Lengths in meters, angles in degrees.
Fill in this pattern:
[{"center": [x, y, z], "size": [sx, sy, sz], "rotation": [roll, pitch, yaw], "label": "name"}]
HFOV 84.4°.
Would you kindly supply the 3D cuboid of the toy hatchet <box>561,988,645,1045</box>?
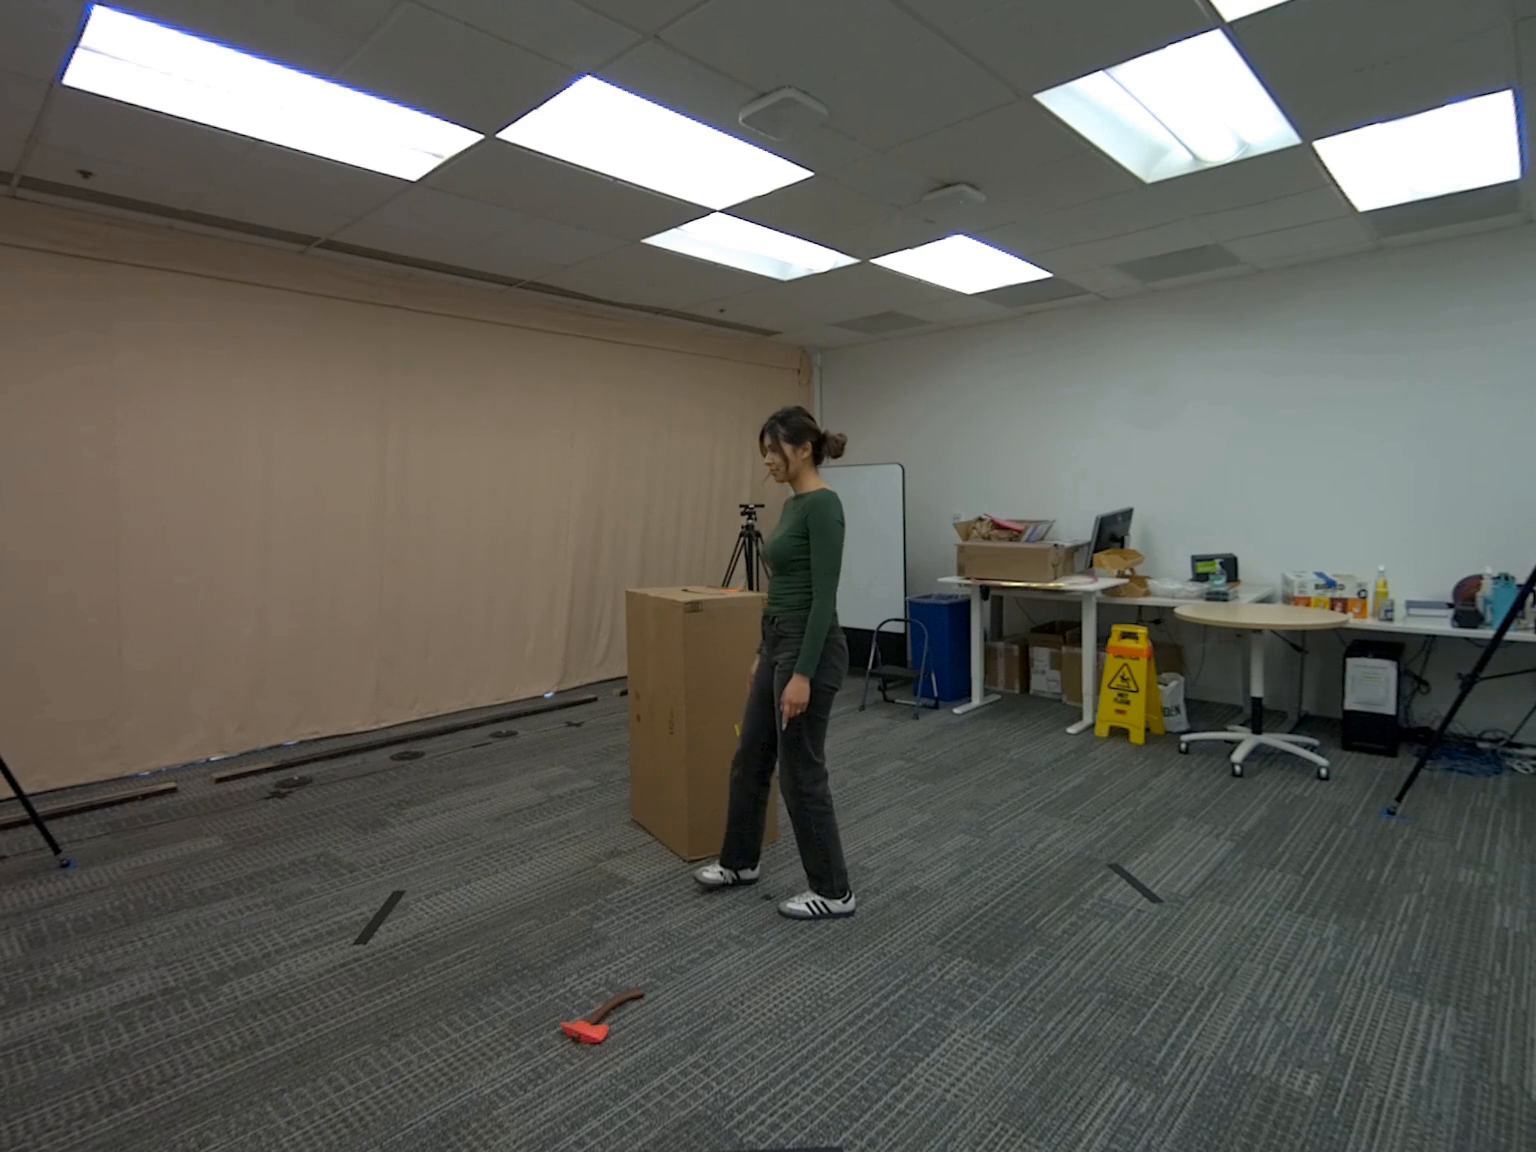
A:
[{"center": [-0.421, 1.190, 2.289], "size": [0.135, 0.029, 0.262], "rotation": [3, 5, 44], "label": "toy hatchet"}]
